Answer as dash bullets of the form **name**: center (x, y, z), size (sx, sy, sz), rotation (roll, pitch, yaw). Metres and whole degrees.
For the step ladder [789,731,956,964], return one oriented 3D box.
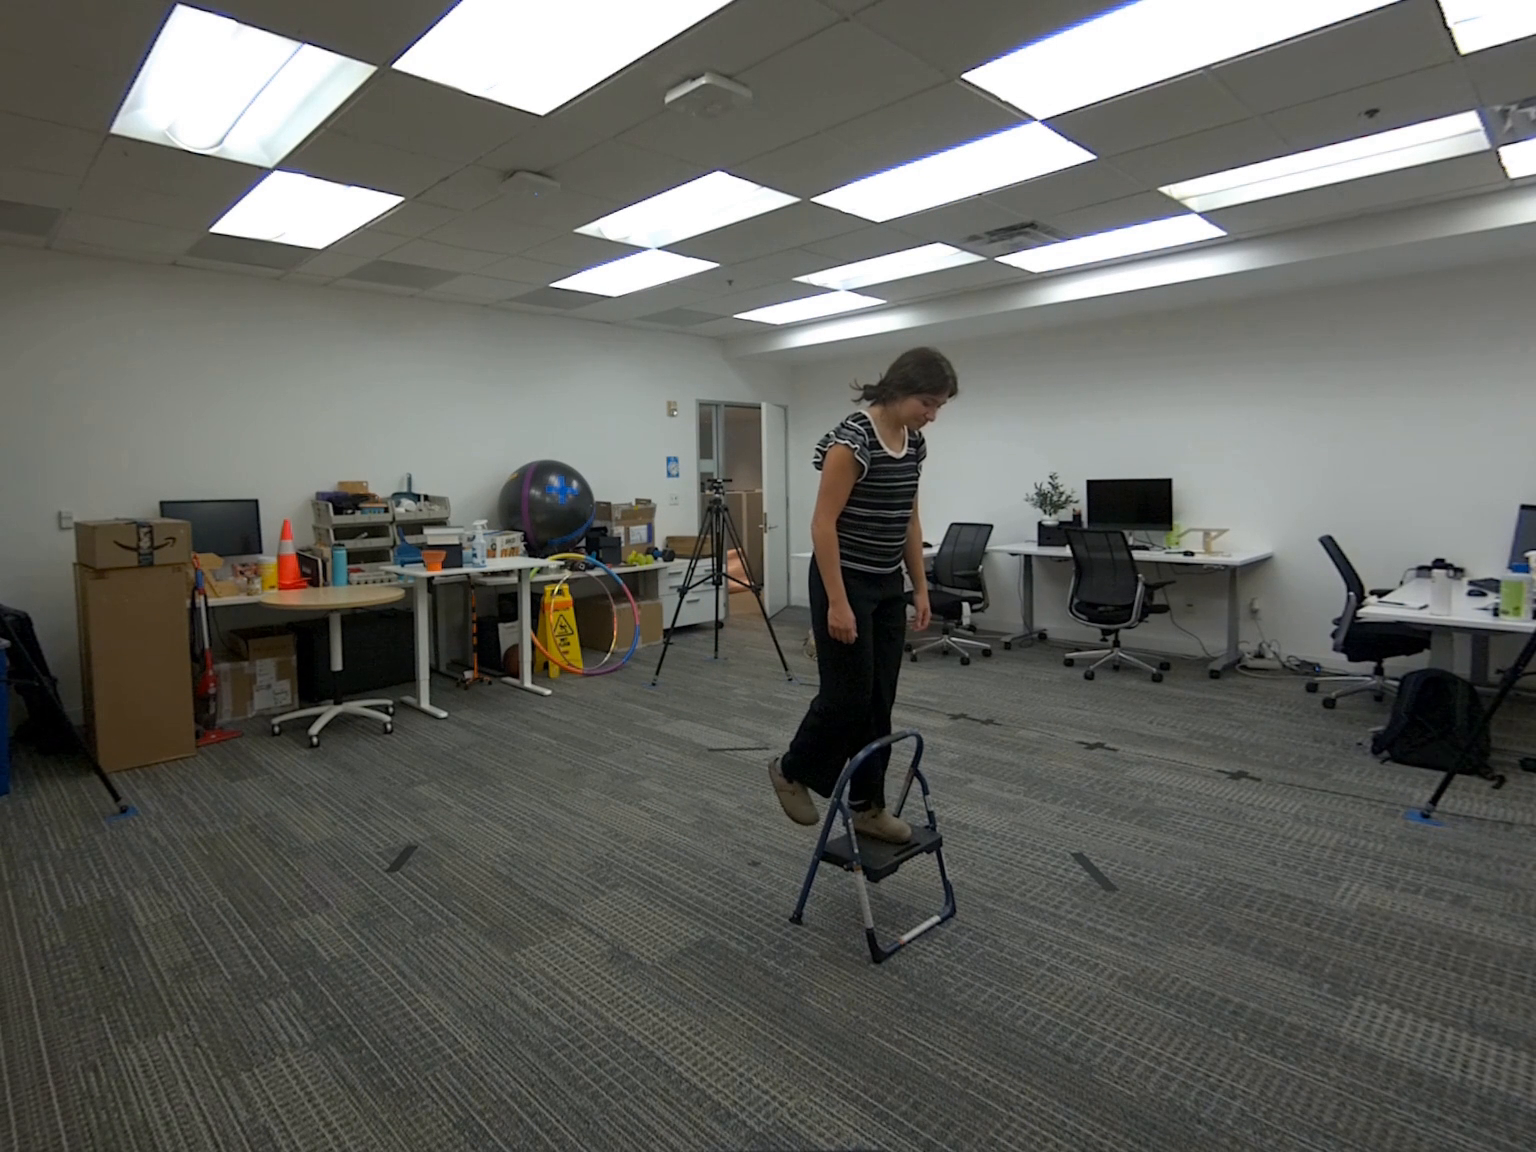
- **step ladder**: center (0.335, 0.784, 2.690), size (0.360, 0.604, 0.419), rotation (3, 6, 45)
